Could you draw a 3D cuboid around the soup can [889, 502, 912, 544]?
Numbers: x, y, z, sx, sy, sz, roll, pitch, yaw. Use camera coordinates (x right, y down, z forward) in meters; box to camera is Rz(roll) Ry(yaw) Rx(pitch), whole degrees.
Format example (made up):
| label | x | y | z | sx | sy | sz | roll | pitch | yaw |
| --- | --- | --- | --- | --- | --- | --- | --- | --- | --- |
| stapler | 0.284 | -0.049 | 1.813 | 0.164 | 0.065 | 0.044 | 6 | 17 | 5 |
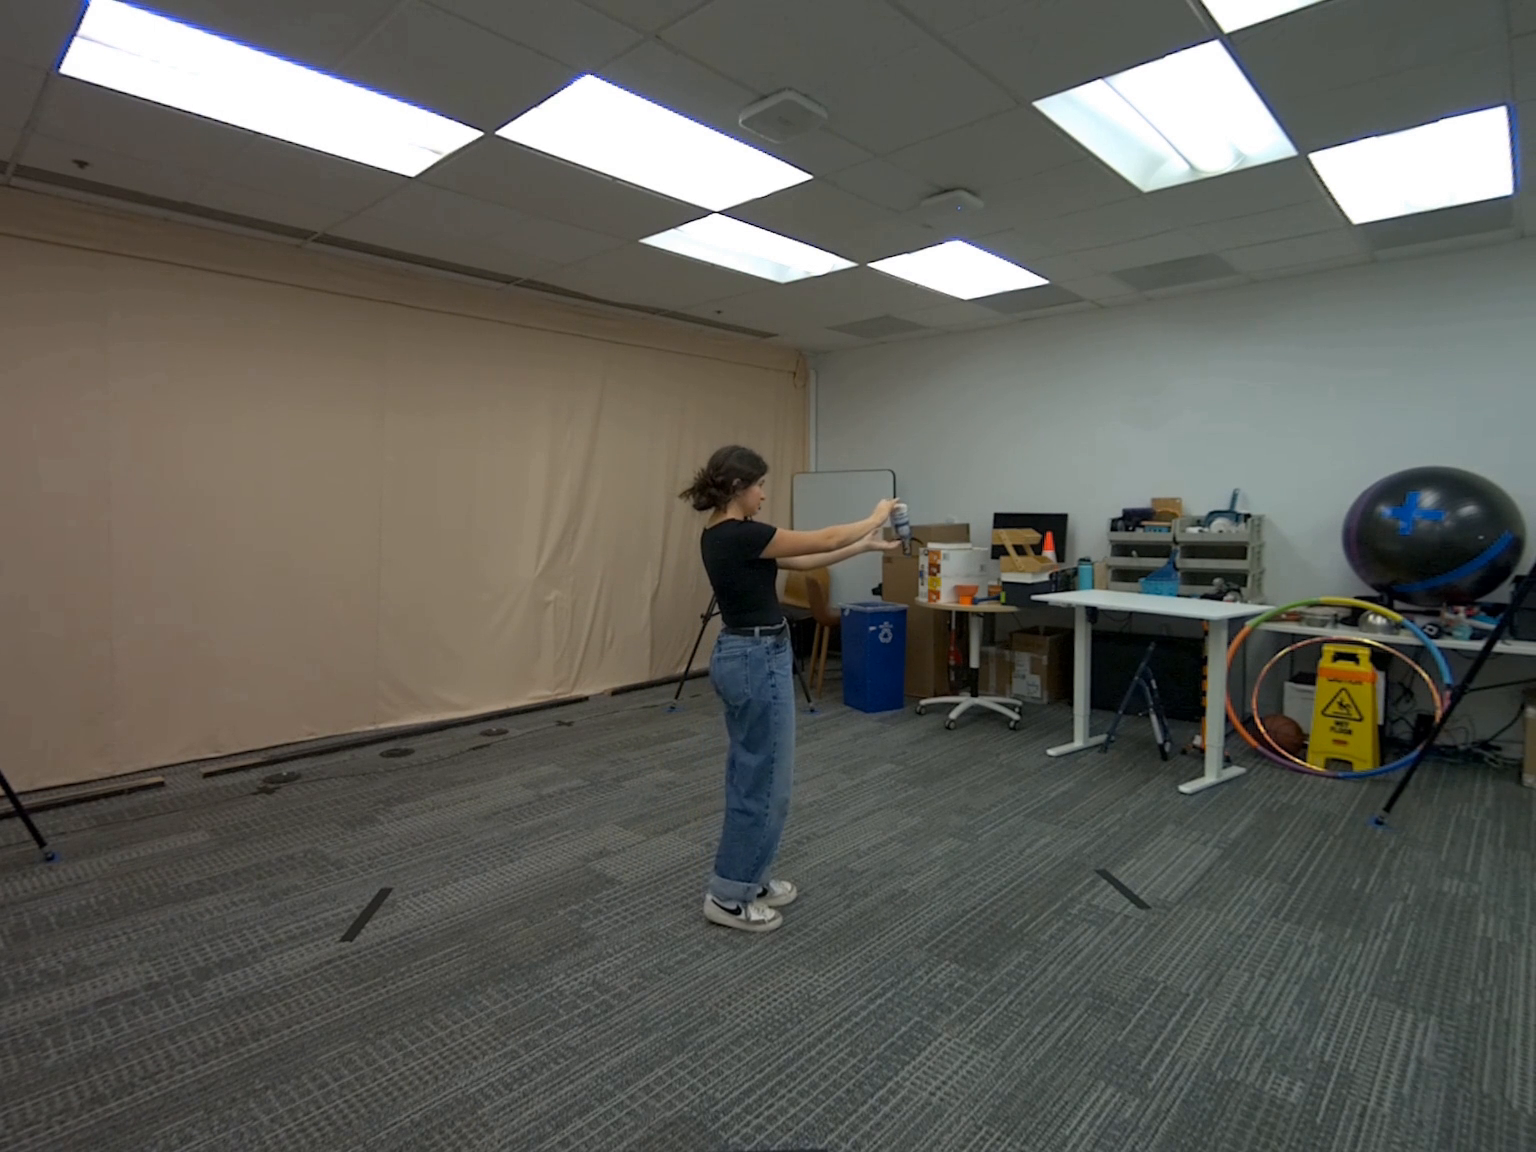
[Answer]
| label | x | y | z | sx | sy | sz | roll | pitch | yaw |
| --- | --- | --- | --- | --- | --- | --- | --- | --- | --- |
| soup can | 0.471 | -0.190 | 2.998 | 0.067 | 0.120 | 0.068 | -10 | 13 | 0 |
